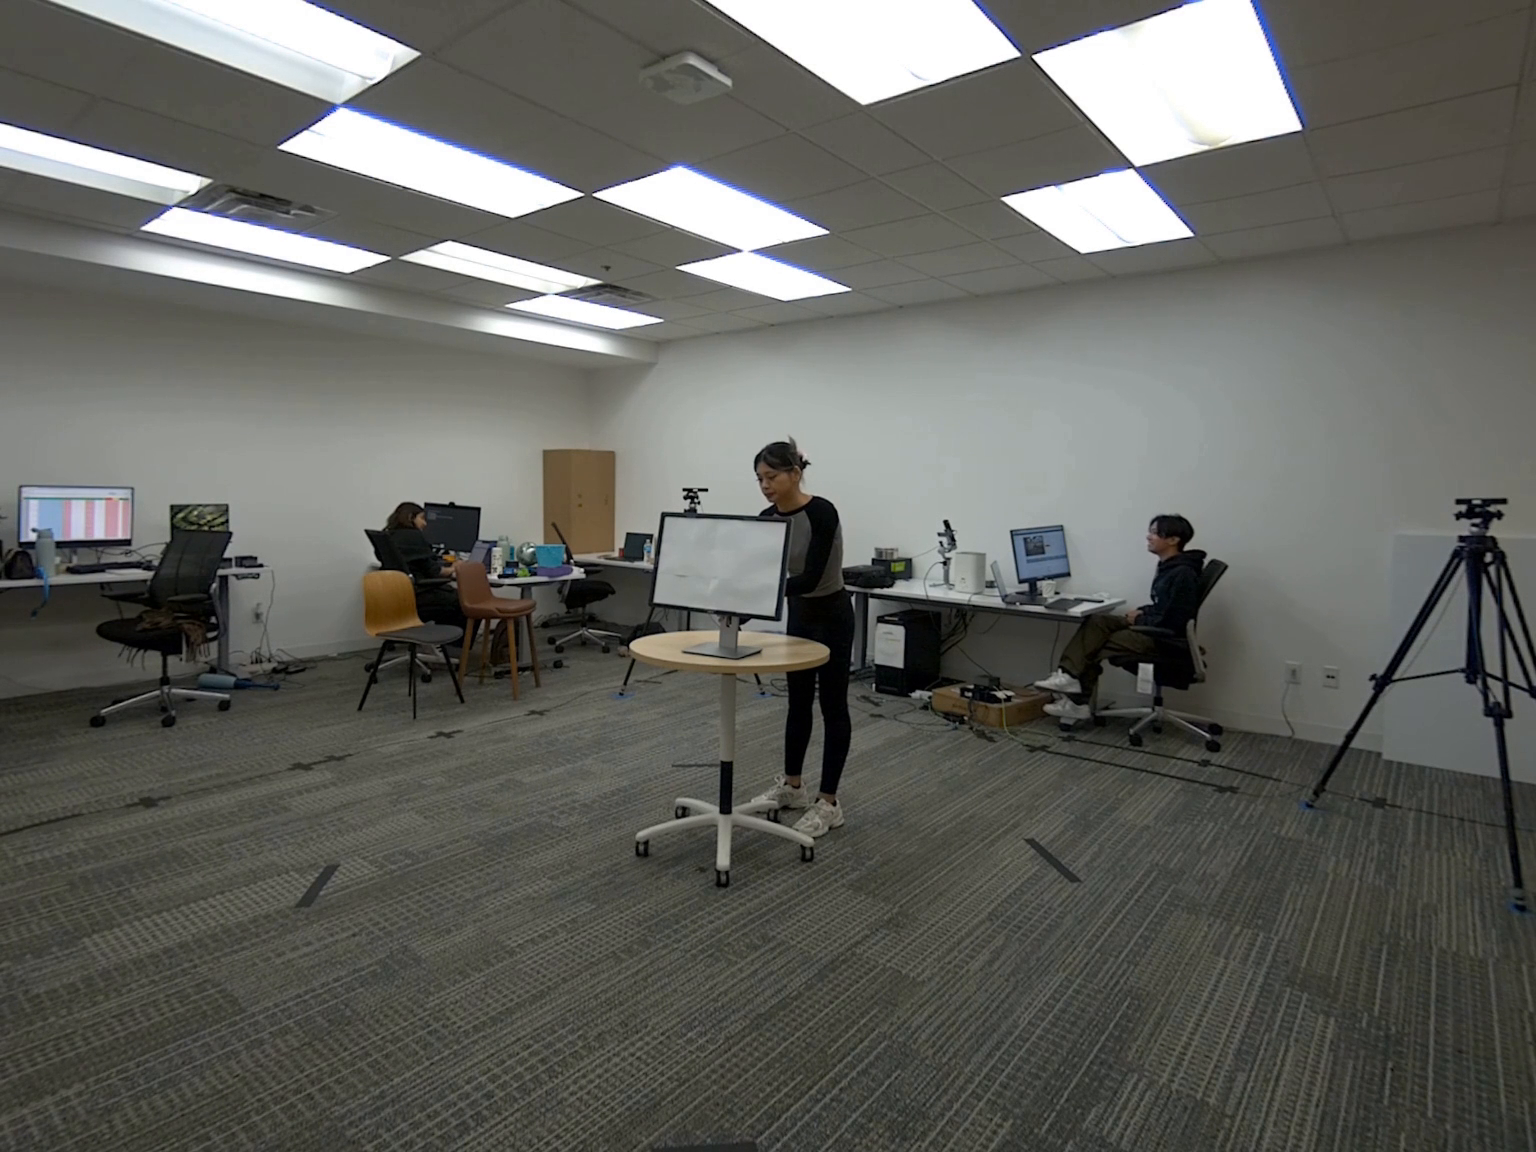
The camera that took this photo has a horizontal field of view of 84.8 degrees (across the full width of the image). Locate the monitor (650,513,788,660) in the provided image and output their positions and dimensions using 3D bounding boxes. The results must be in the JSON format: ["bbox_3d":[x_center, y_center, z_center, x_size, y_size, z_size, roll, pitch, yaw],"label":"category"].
[{"bbox_3d":[-0.173,0.031,3.121,0.546,0.511,0.171,5,12,31],"label":"monitor"}]
